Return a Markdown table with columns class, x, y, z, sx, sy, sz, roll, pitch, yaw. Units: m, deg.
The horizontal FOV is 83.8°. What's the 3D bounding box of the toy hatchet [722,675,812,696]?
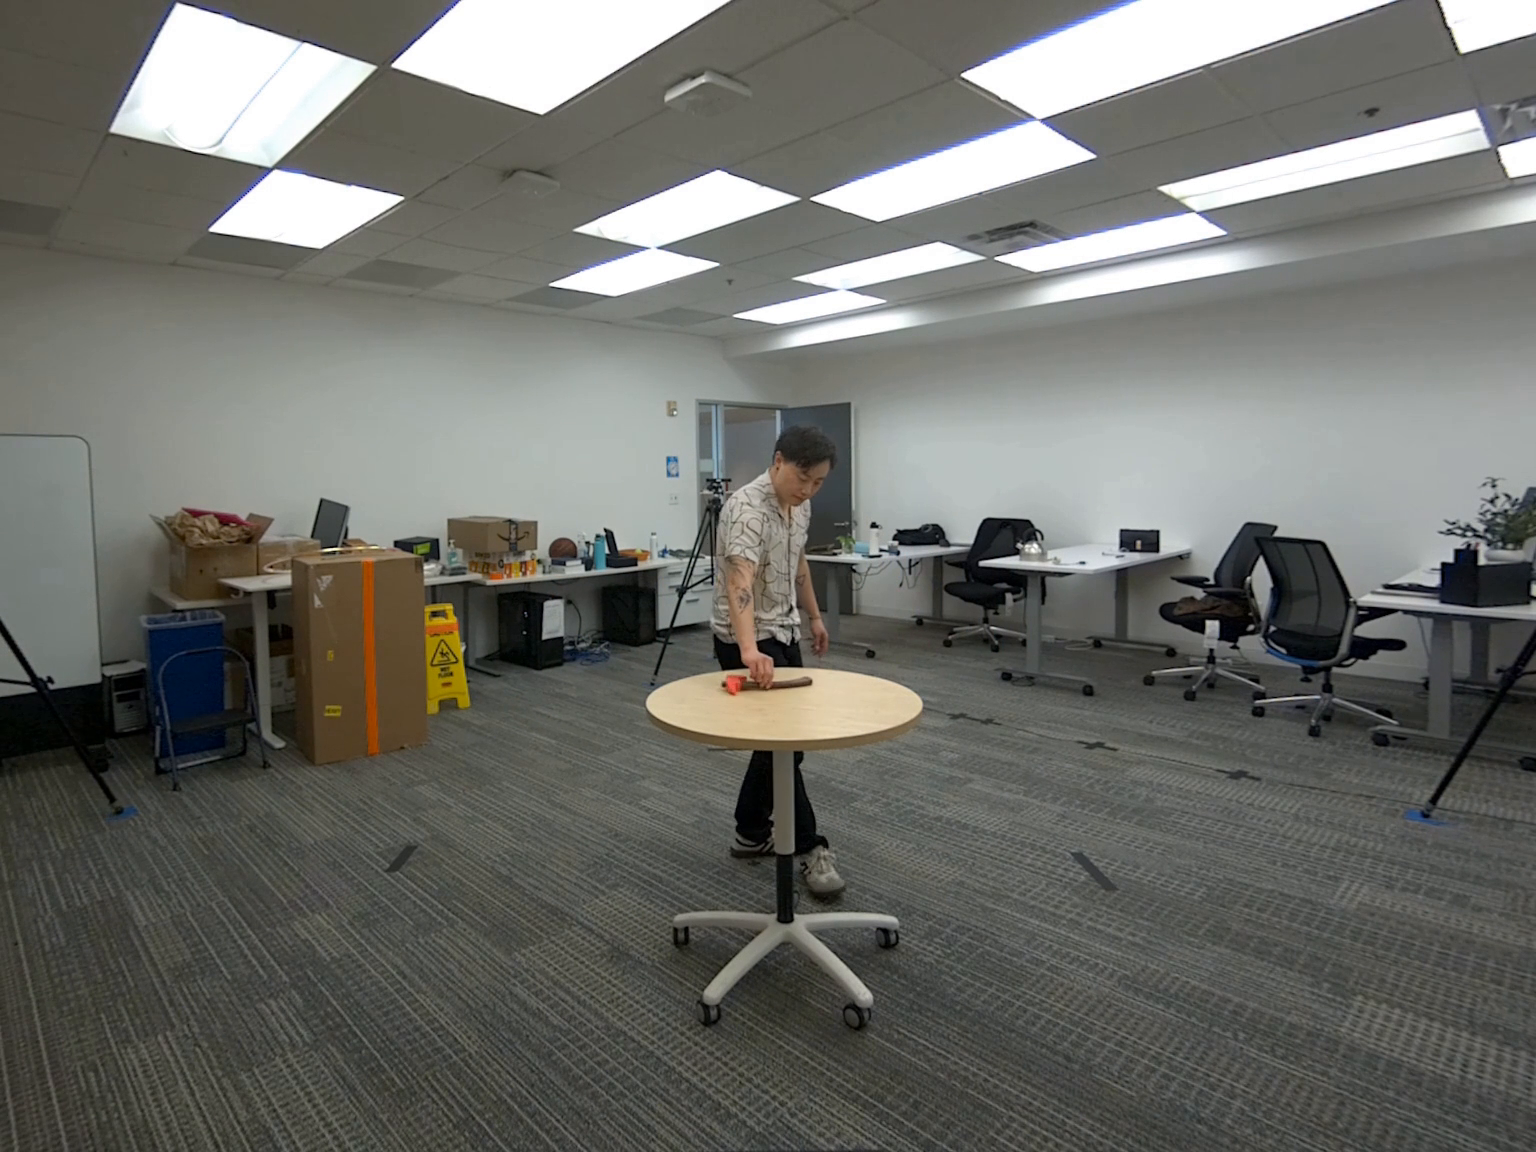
| class | x | y | z | sx | sy | sz | roll | pitch | yaw |
| --- | --- | --- | --- | --- | --- | --- | --- | --- | --- |
| toy hatchet | -0.009 | 0.316 | 2.536 | 0.264 | 0.029 | 0.135 | -4 | 16 | -26 |
